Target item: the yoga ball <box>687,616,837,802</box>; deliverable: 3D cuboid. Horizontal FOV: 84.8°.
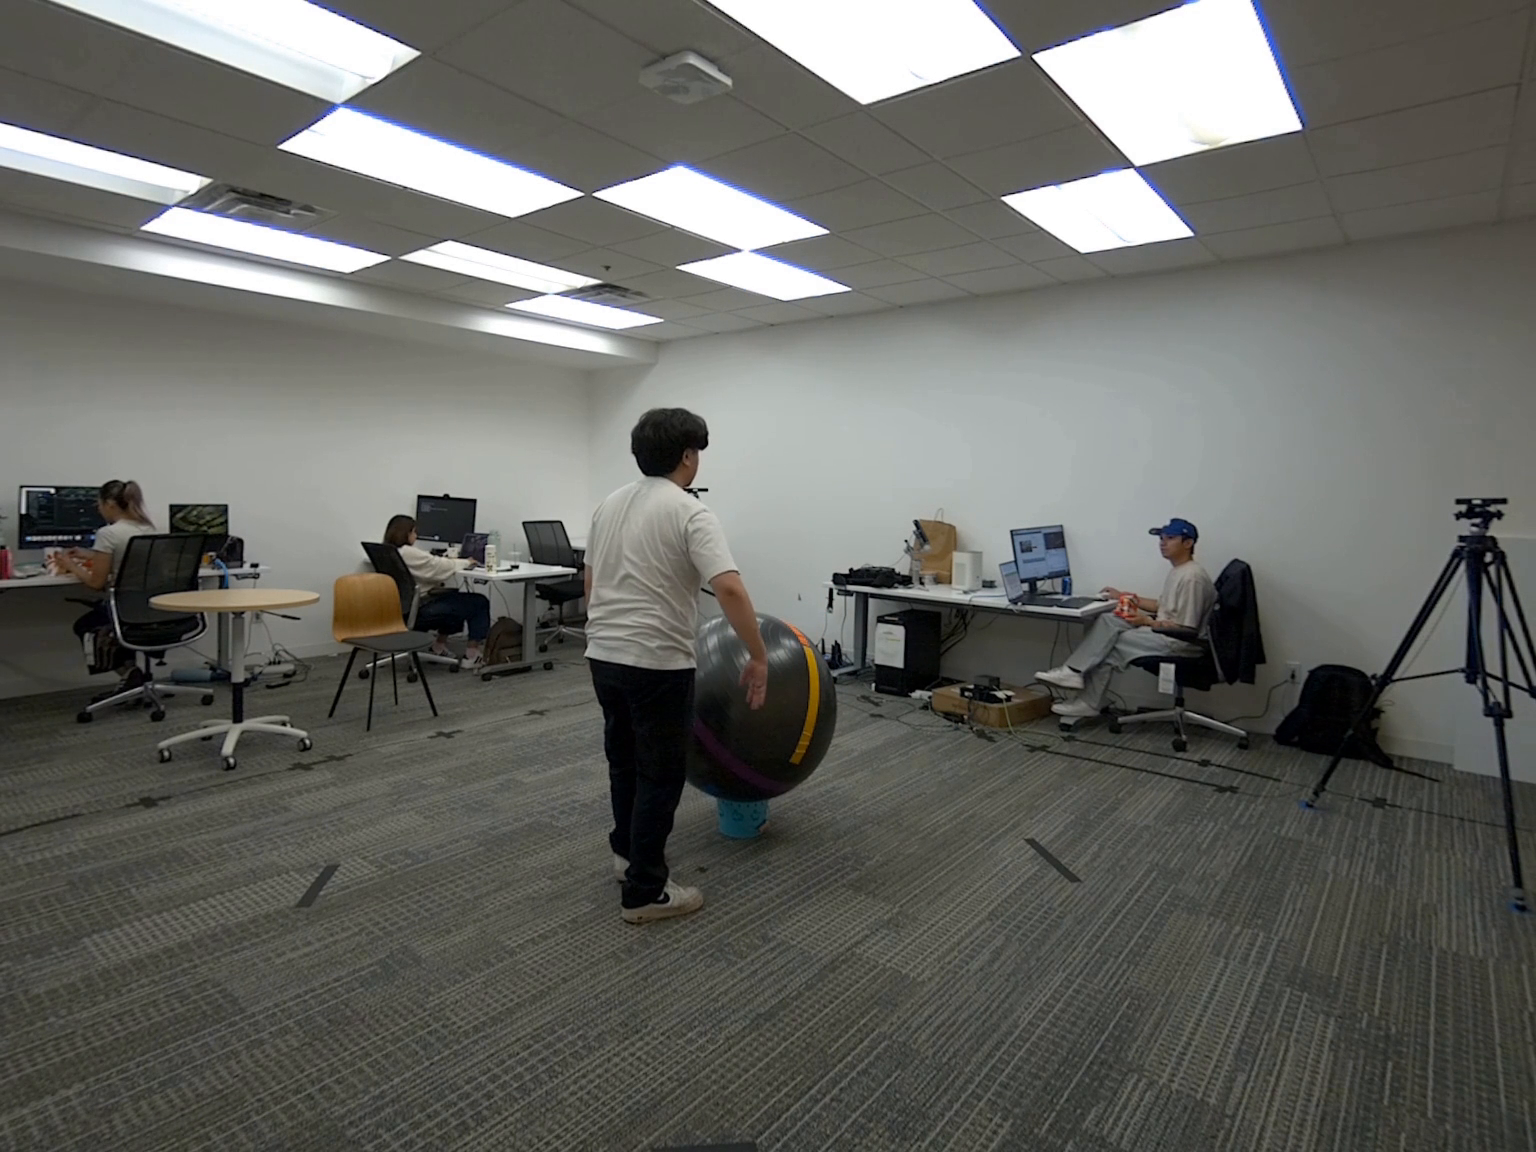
[{"bbox_3d":[-0.096,0.526,3.472,0.757,0.755,0.762,1,4,-2],"label":"yoga ball"}]
